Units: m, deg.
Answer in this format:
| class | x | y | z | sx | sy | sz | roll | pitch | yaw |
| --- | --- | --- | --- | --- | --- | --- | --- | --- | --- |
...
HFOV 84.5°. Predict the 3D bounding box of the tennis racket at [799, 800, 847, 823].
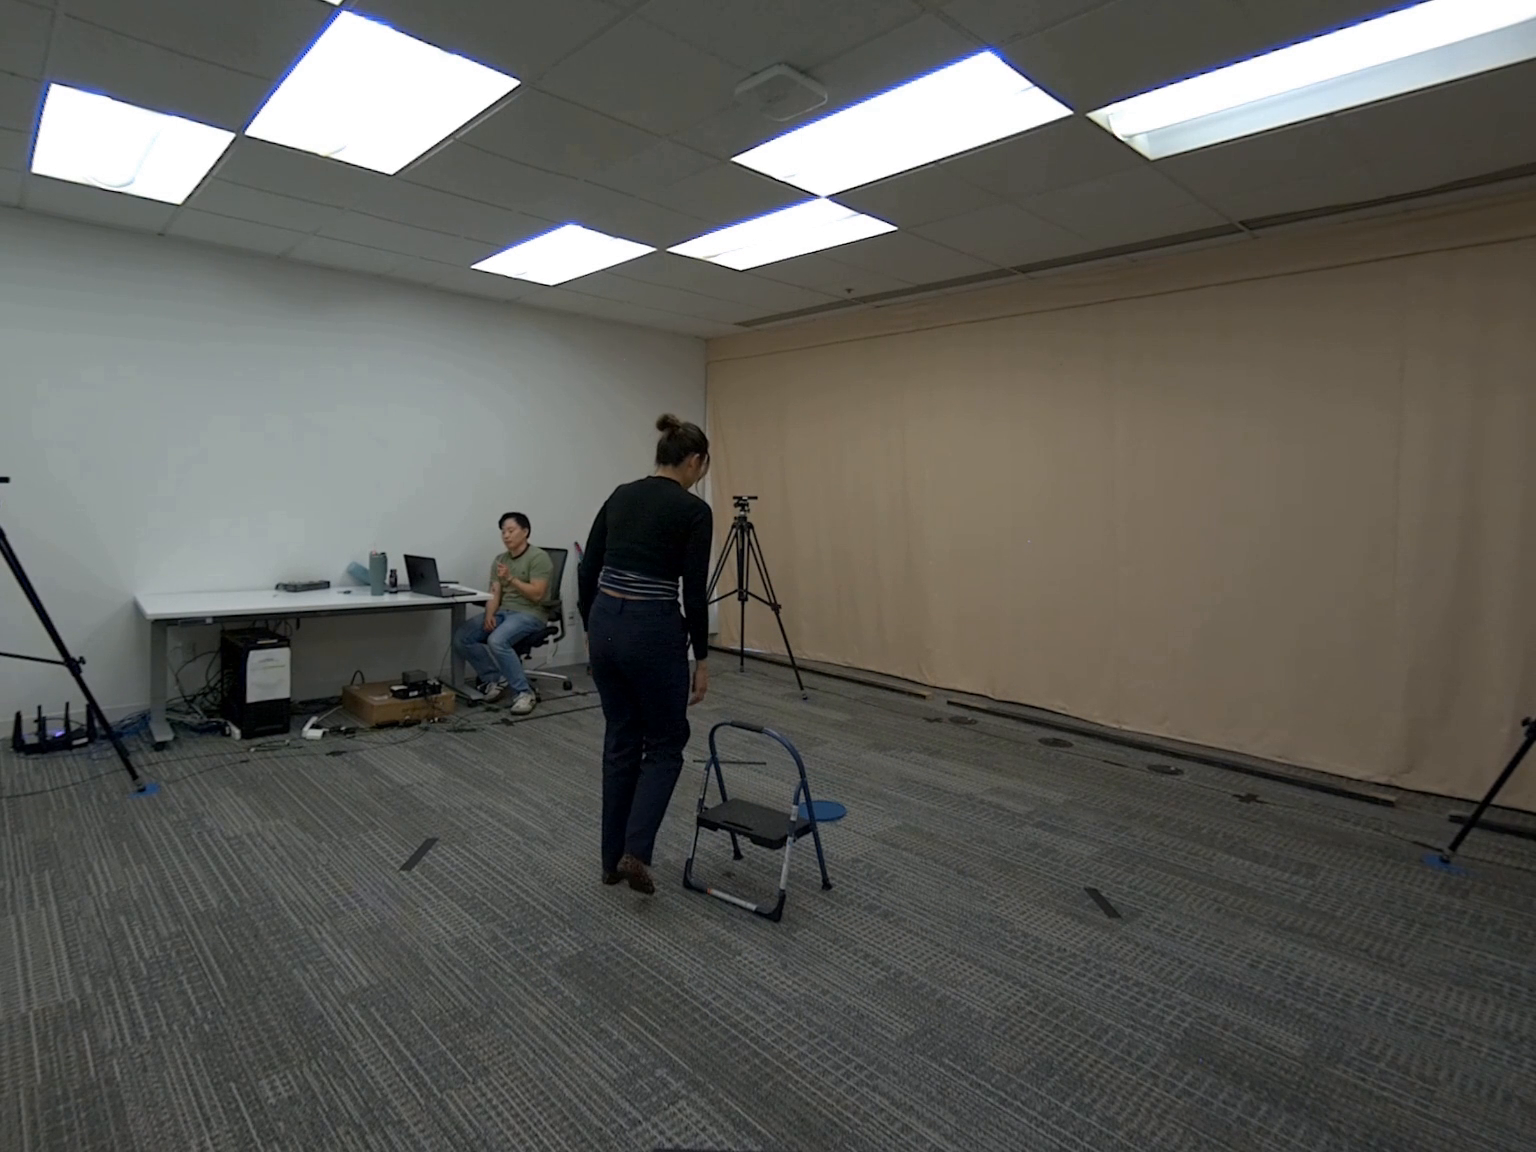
| class | x | y | z | sx | sy | sz | roll | pitch | yaw |
| --- | --- | --- | --- | --- | --- | --- | --- | --- | --- |
| tennis racket | 0.184 | 1.042 | 3.687 | 0.218 | 0.032 | 0.424 | 5 | 5 | 29 |
